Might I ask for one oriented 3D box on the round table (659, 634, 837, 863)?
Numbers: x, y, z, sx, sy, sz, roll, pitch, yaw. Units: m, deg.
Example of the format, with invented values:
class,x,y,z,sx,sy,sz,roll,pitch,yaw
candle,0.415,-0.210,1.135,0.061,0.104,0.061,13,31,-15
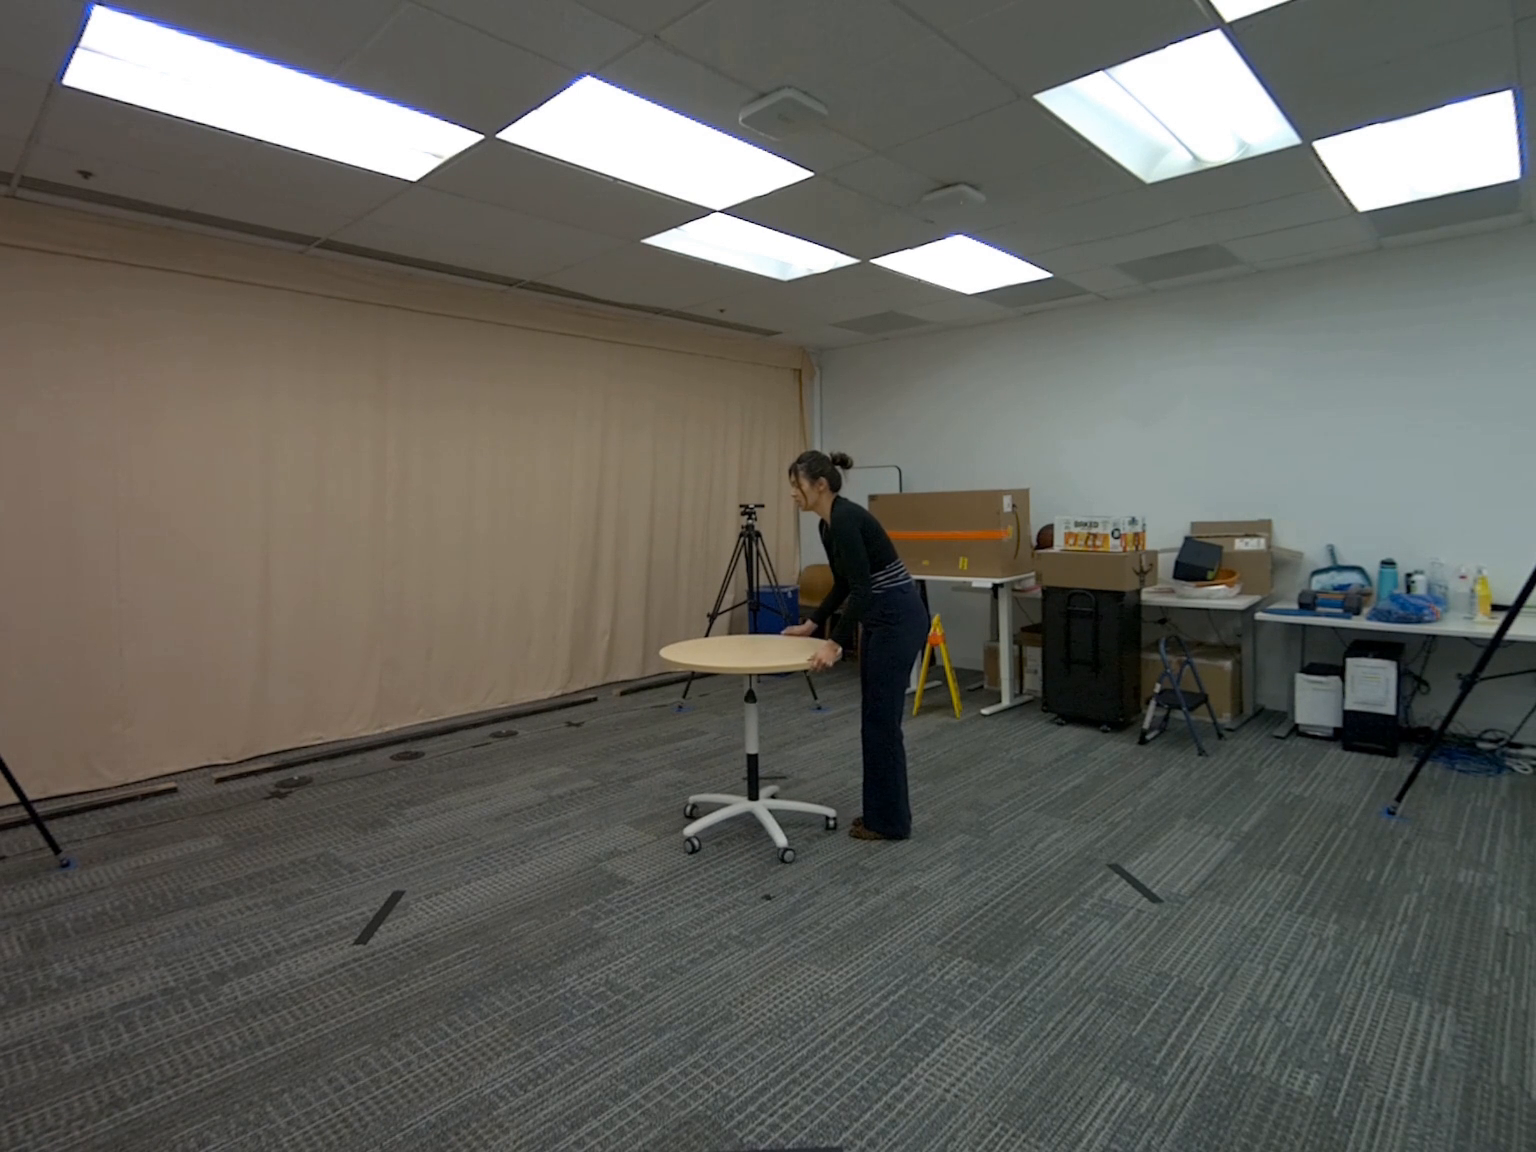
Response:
class,x,y,z,sx,sy,sz,roll,pitch,yaw
round table,-0.061,0.705,3.570,0.763,0.792,0.766,-1,4,-2
